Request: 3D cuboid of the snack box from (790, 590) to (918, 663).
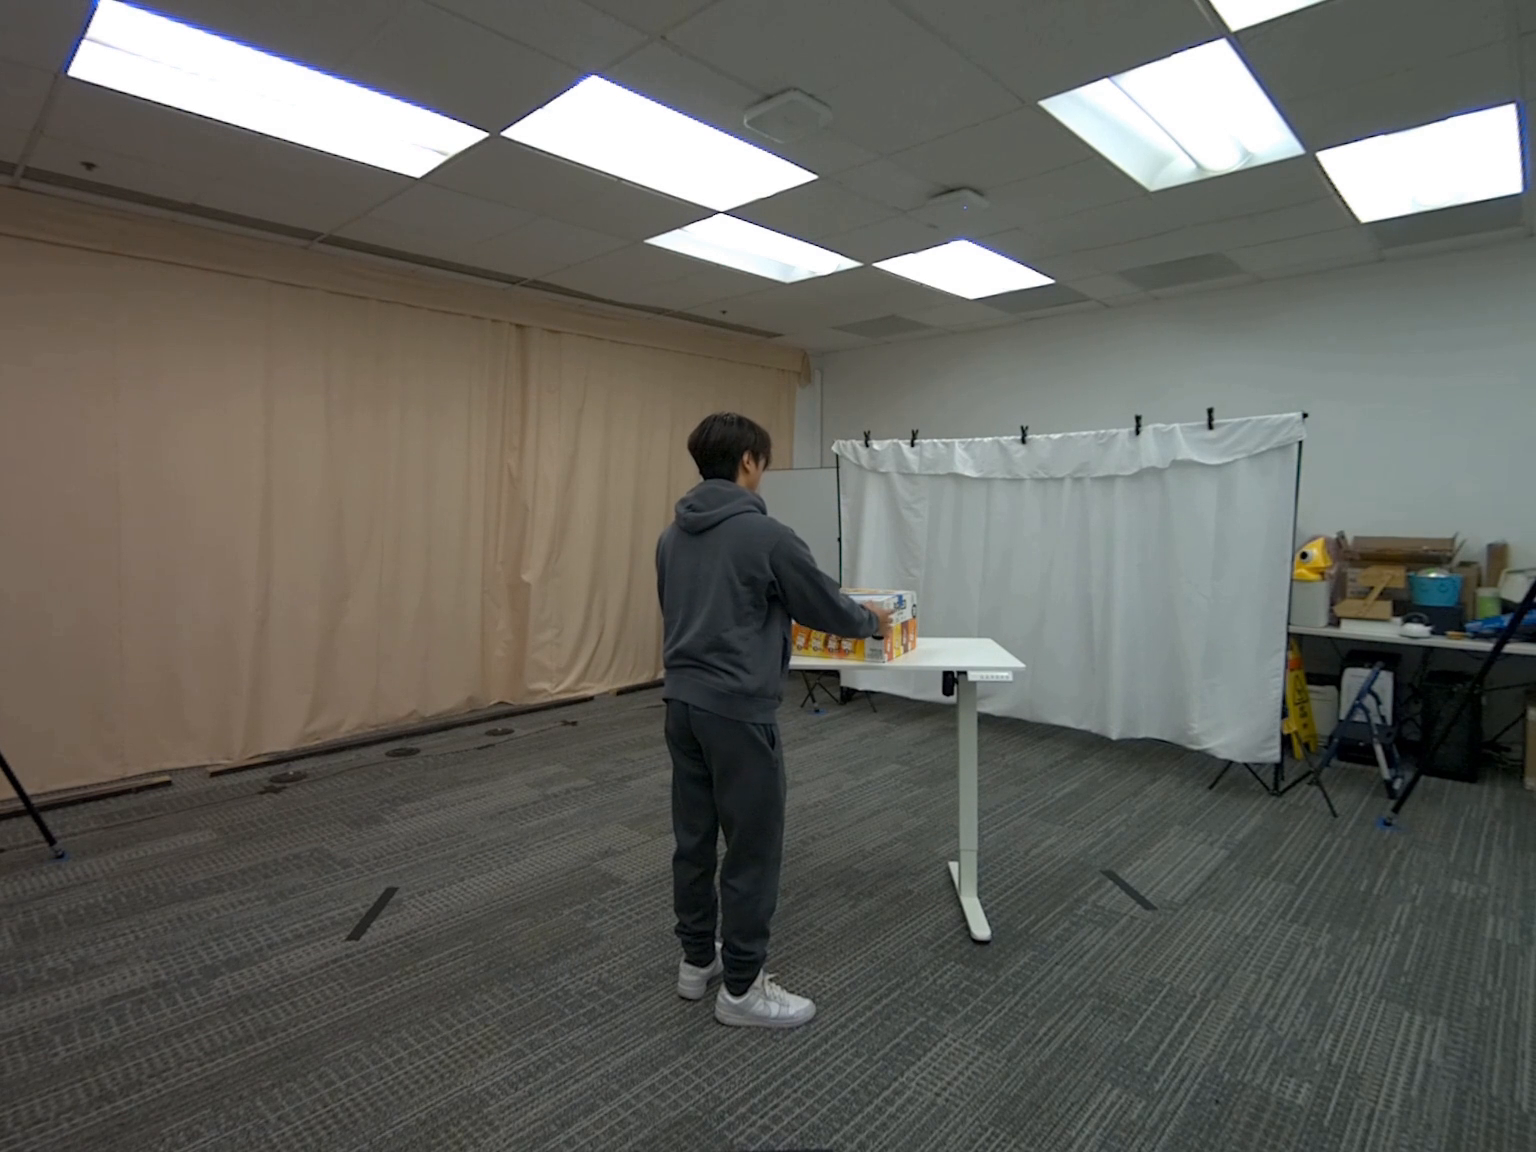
[{"bbox_3d":[0.272,0.164,2.942,0.416,0.205,0.331,1,4,29],"label":"snack box"}]
